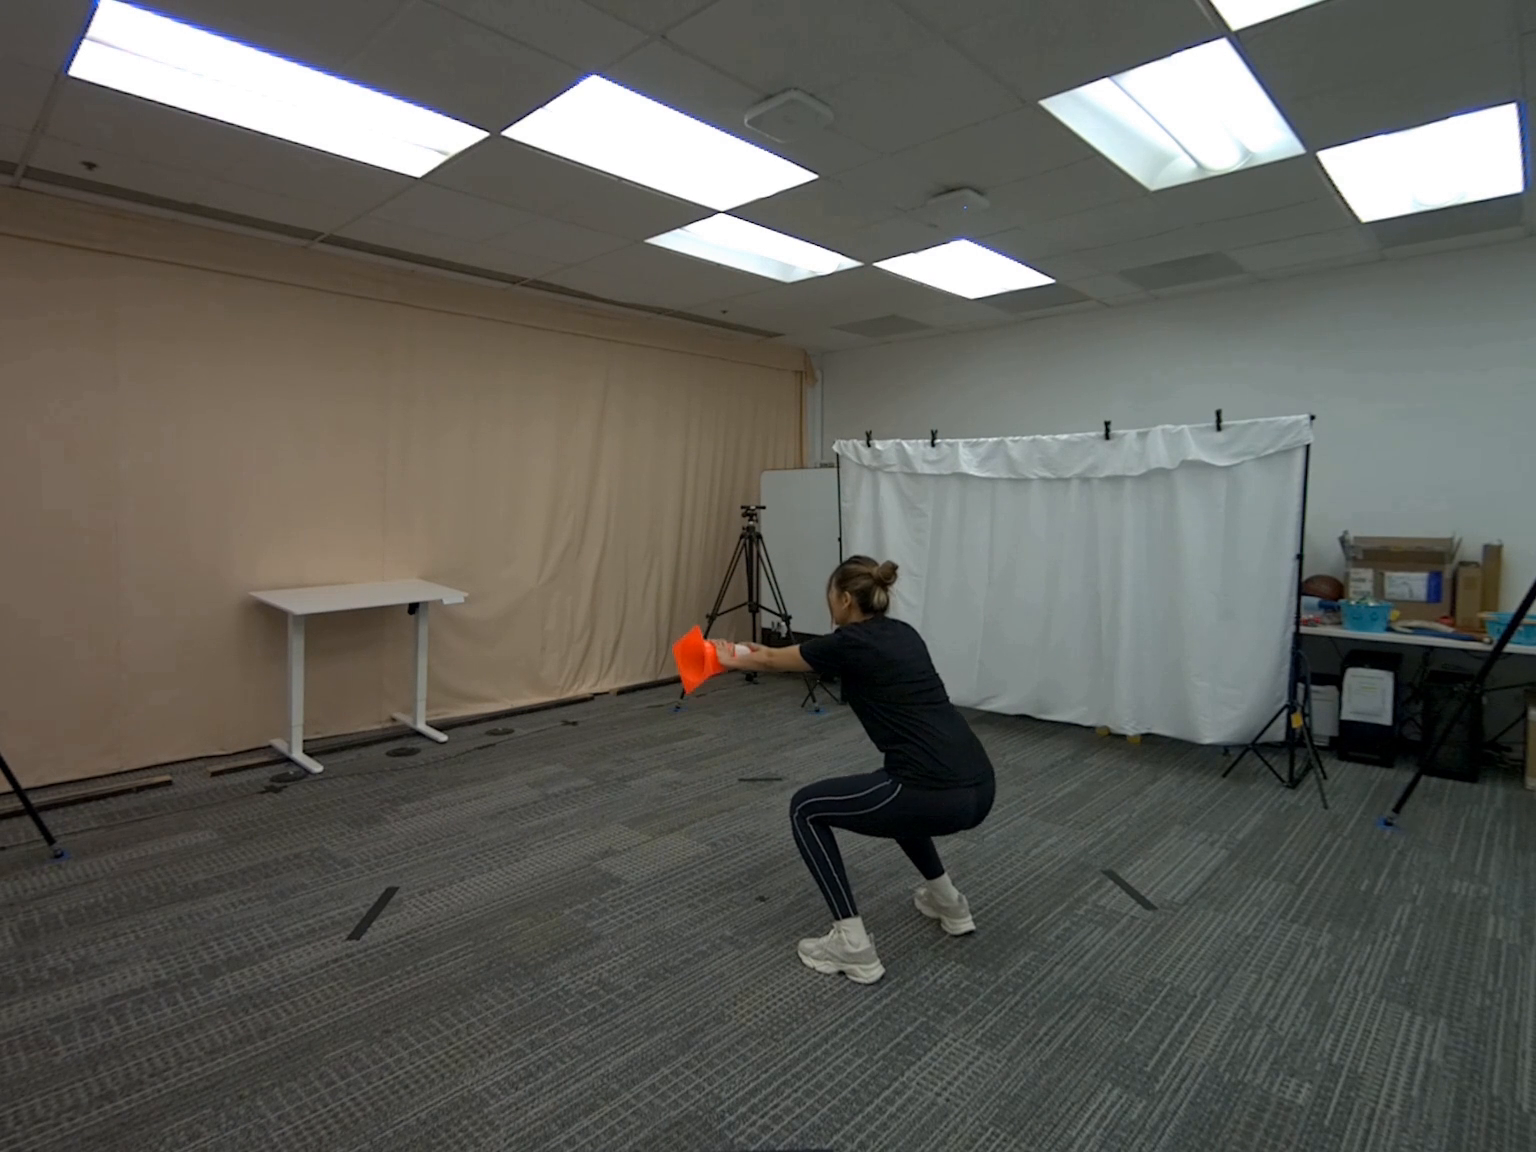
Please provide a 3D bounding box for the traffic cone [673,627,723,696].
[{"bbox_3d":[-0.130,0.308,3.230,0.372,0.209,0.205,2,-30,-36],"label":"traffic cone"}]
